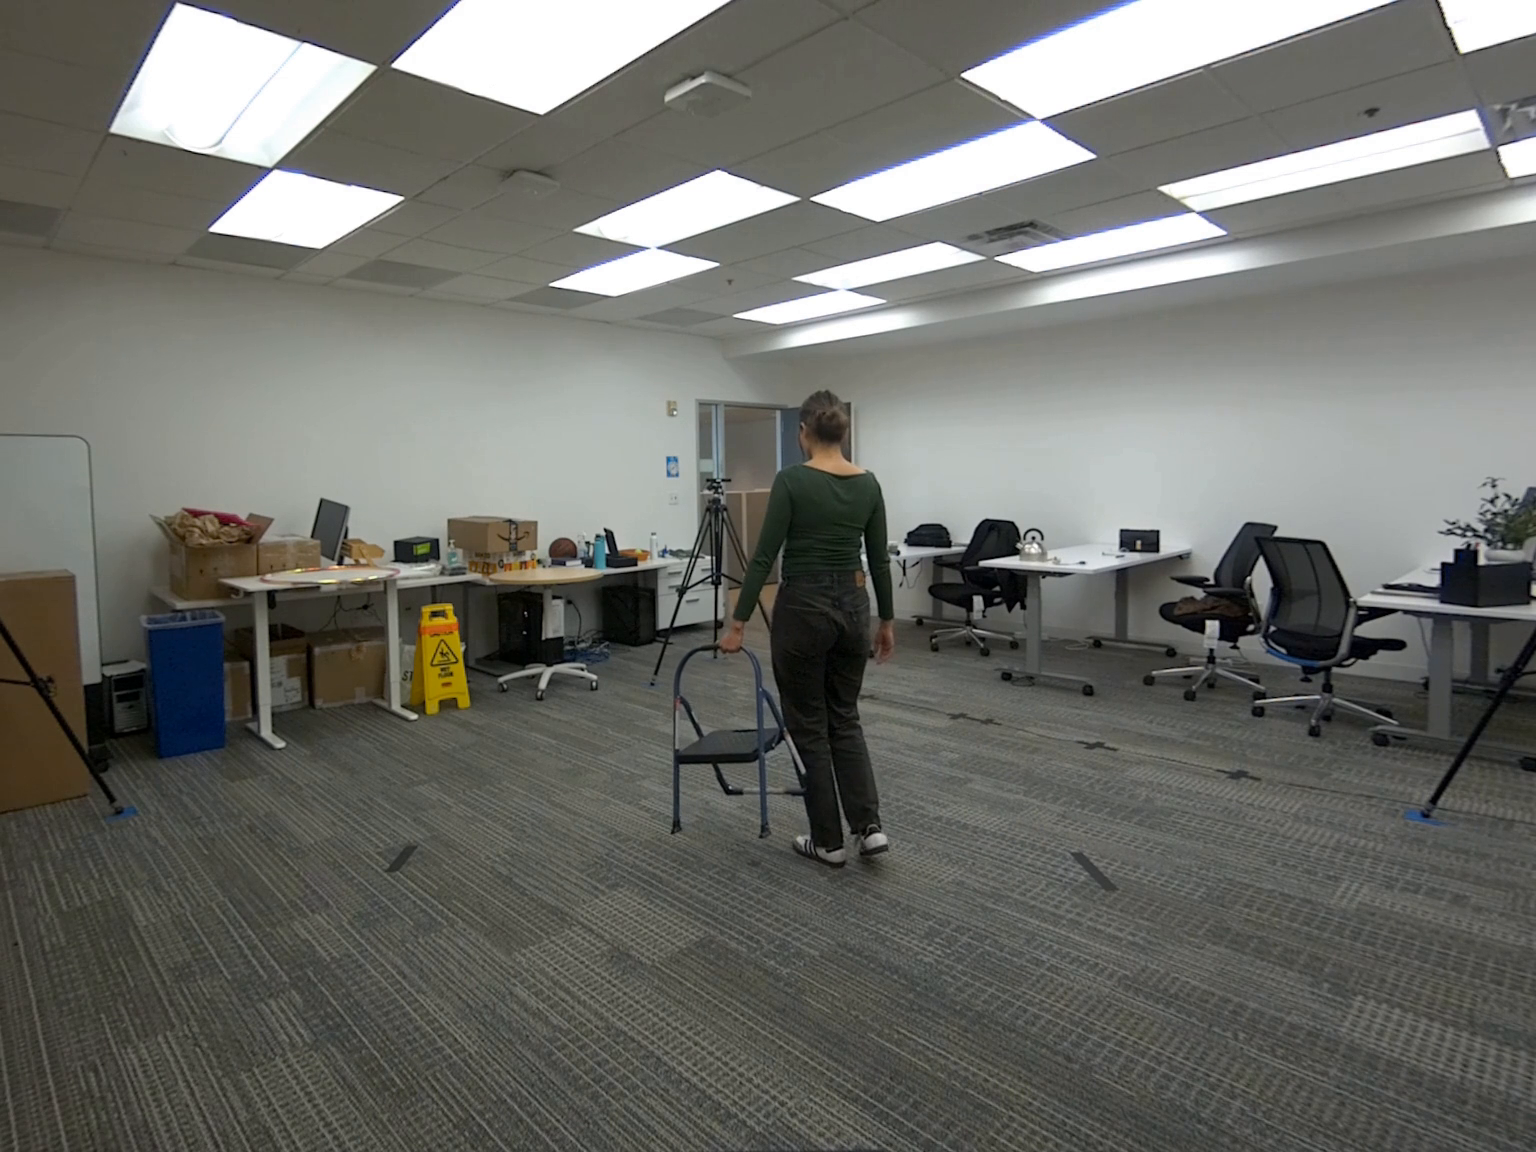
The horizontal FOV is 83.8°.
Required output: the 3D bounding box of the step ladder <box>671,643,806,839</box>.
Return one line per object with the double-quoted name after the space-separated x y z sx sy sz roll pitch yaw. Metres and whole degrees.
-0.155 0.561 3.035 0.440 0.604 0.343 -12 3 36 "step ladder"
